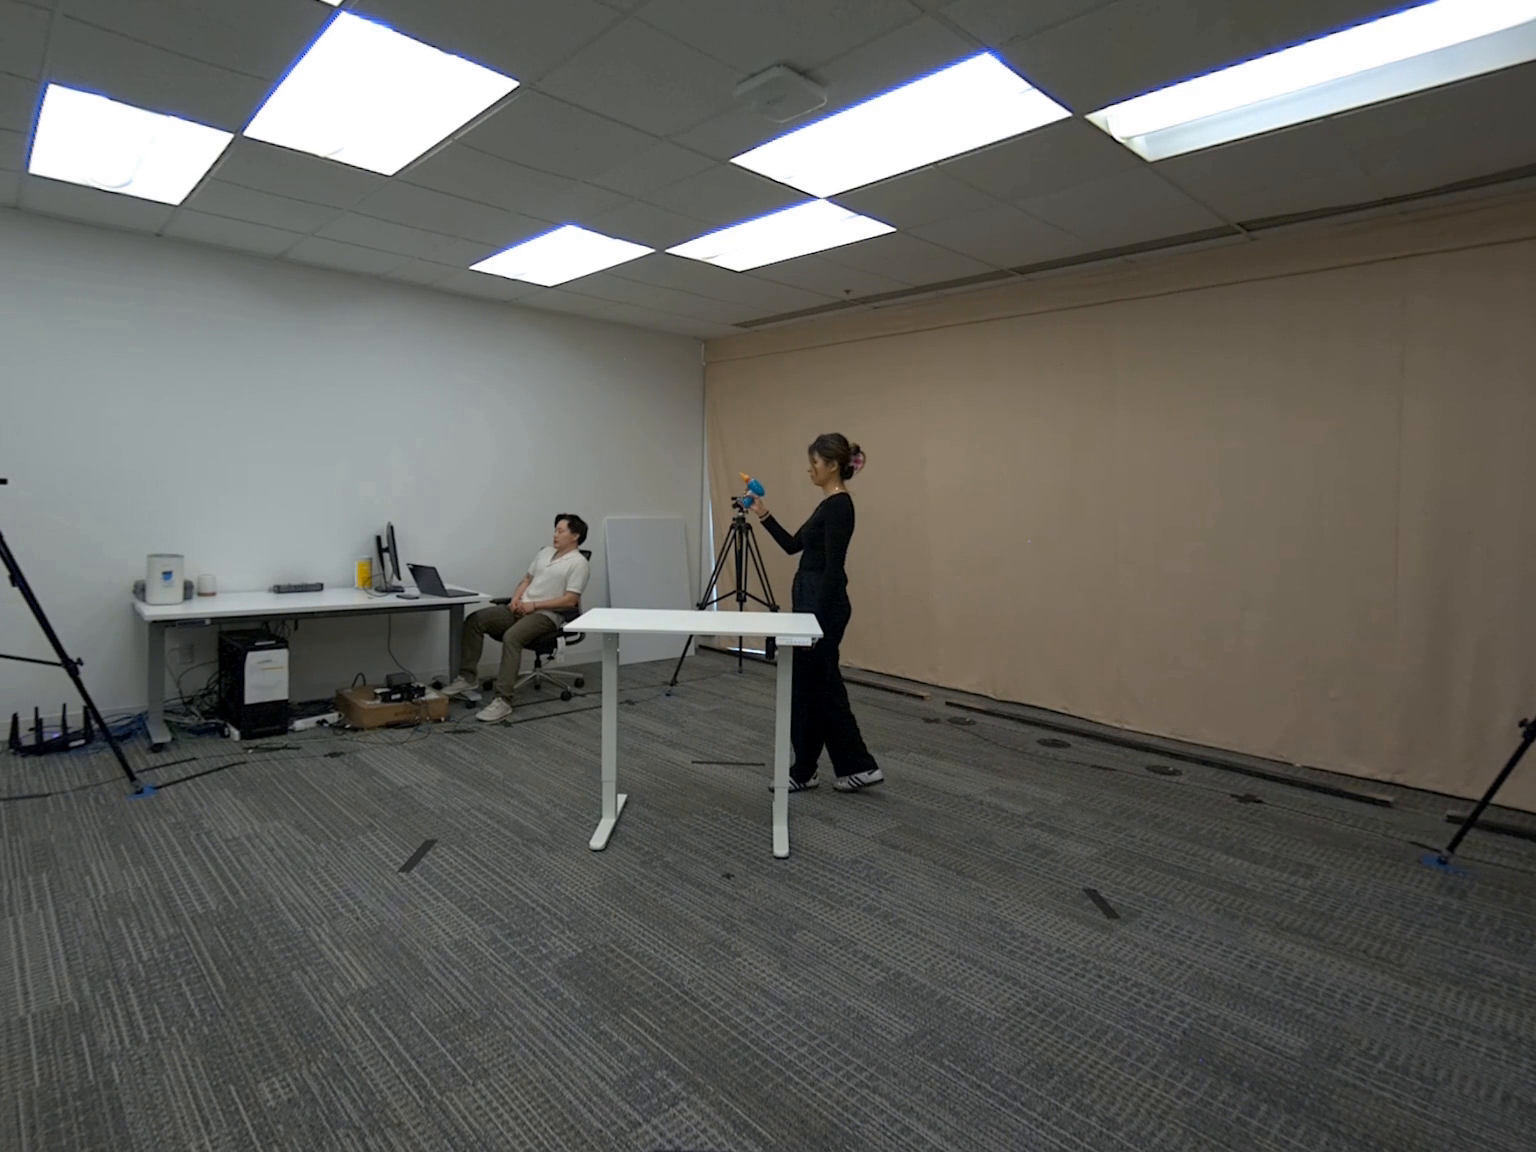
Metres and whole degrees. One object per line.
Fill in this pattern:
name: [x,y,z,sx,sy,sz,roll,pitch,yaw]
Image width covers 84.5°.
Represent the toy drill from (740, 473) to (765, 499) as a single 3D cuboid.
toy drill: [-0.108,-0.432,4.239,0.170,0.146,0.061,43,-1,3]
